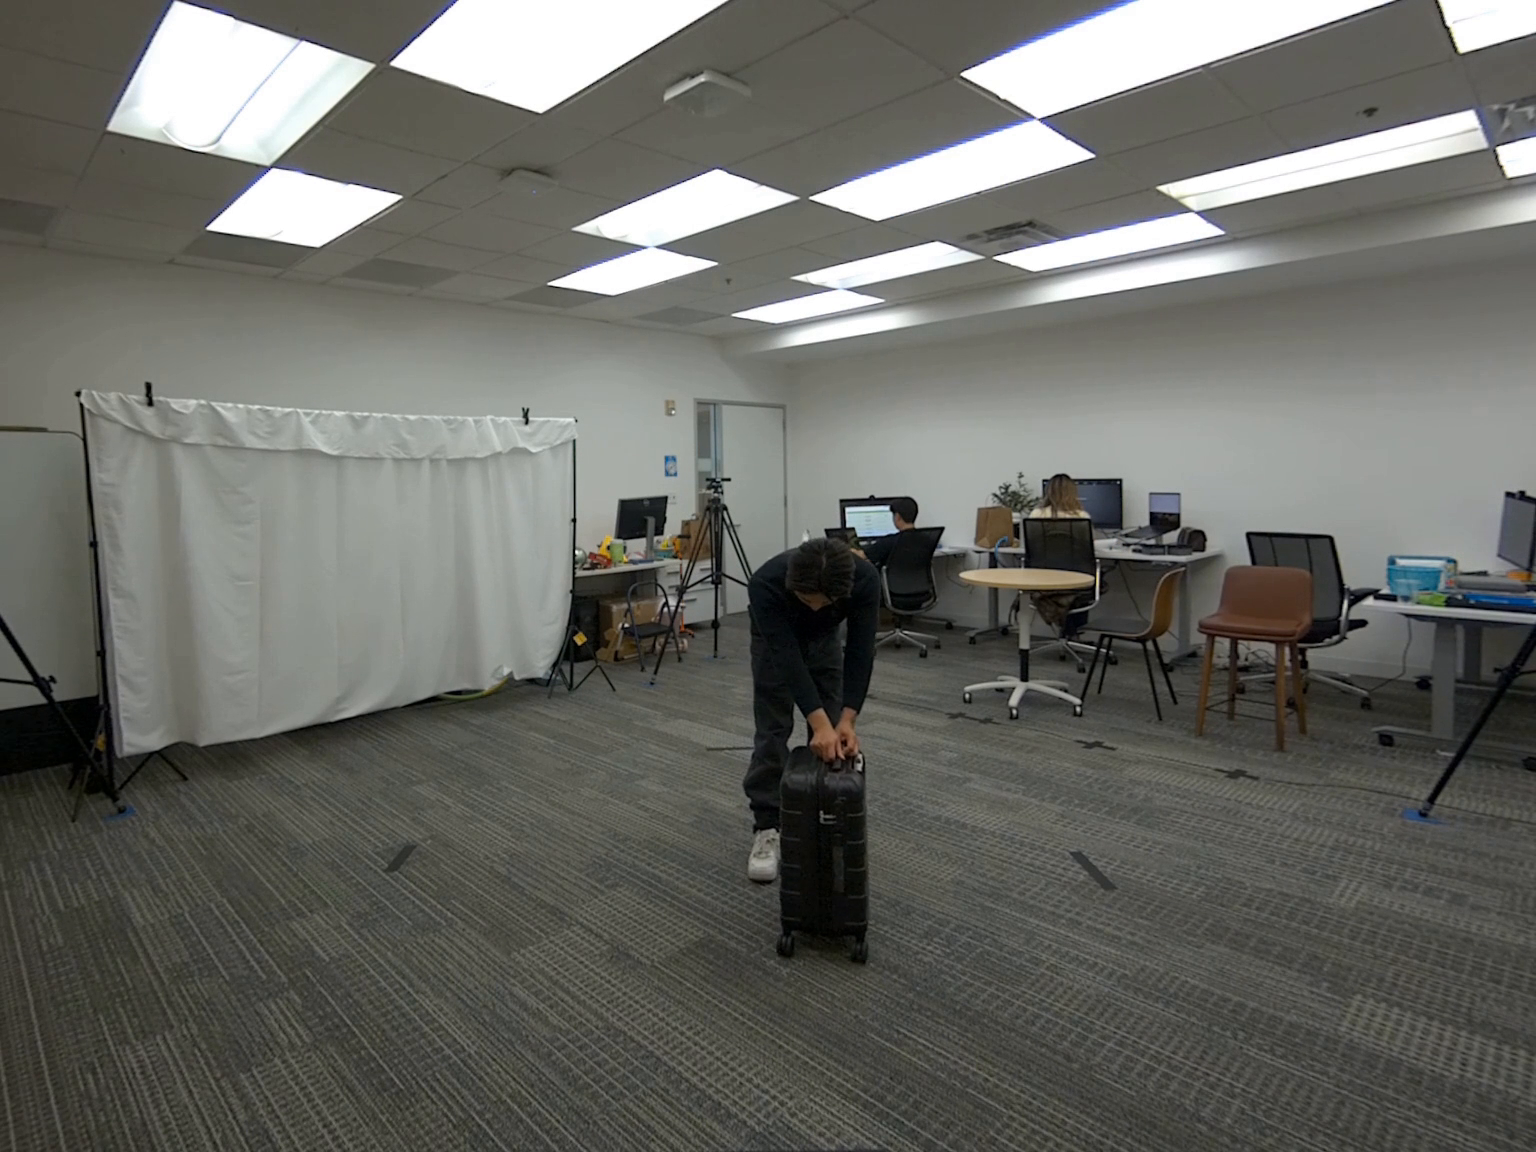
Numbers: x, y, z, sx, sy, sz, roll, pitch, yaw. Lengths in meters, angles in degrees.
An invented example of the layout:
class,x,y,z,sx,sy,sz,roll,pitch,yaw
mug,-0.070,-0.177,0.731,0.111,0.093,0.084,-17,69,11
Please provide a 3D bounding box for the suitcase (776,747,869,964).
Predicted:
class,x,y,z,sx,sy,sz,roll,pitch,yaw
suitcase,0.186,0.819,2.632,0.250,0.548,0.373,-3,3,8
